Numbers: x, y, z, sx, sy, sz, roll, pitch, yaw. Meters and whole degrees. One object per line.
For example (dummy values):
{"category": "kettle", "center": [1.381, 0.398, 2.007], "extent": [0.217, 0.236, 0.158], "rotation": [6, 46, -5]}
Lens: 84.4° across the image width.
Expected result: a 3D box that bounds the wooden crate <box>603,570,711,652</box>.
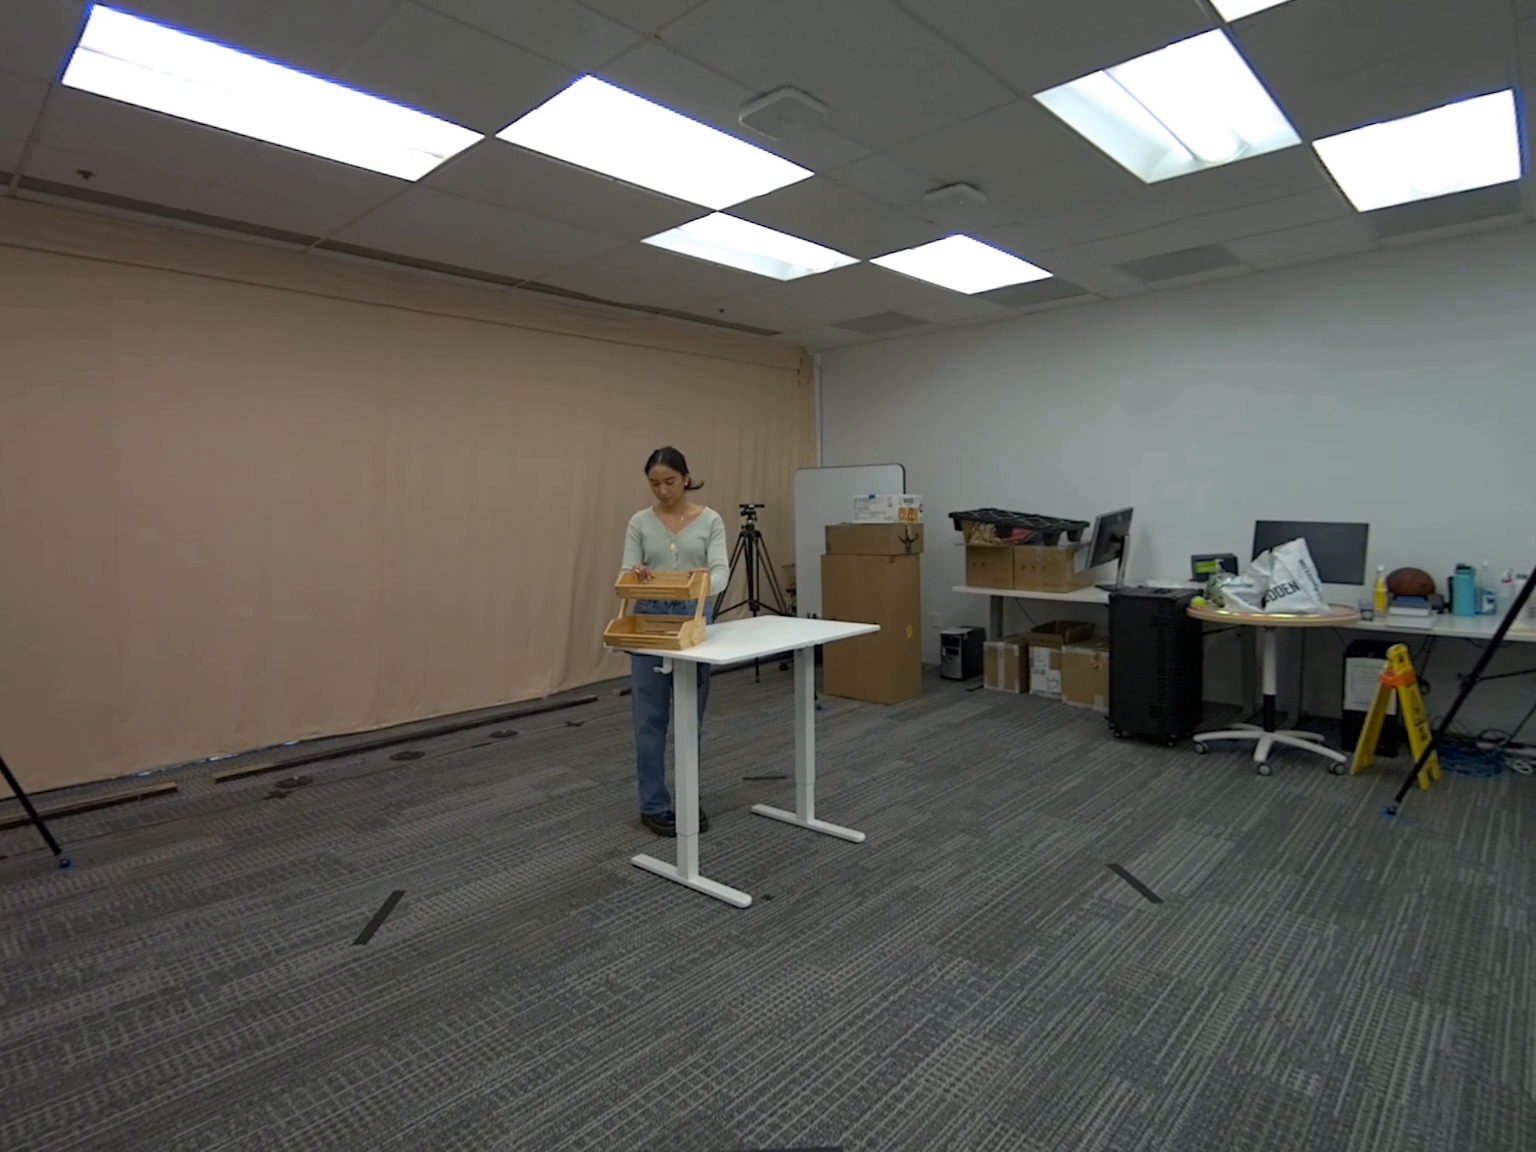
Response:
{"category": "wooden crate", "center": [-0.397, 0.112, 3.129], "extent": [0.331, 0.273, 0.296], "rotation": [1, 4, 19]}
